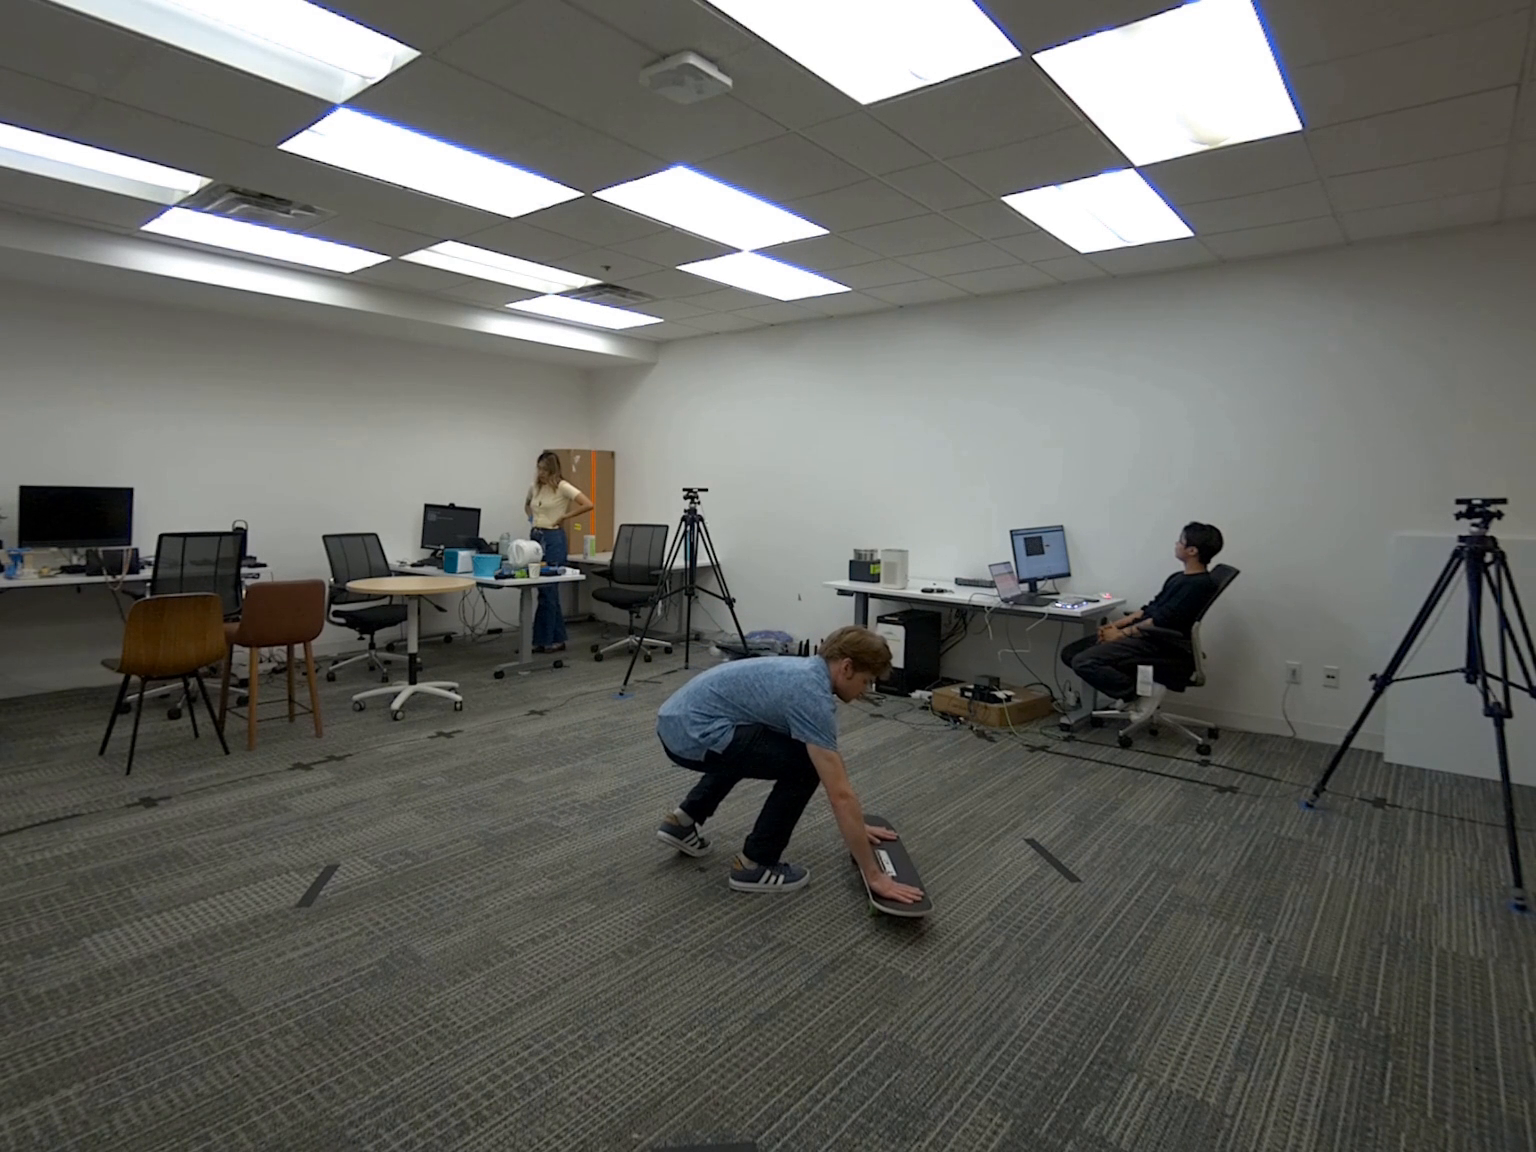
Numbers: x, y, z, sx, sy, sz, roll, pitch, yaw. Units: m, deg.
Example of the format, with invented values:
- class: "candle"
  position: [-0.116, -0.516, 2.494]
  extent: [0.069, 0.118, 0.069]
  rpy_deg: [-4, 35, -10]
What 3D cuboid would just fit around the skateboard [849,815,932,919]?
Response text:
- class: "skateboard"
  position: [0.400, 1.031, 2.997]
  extent: [0.193, 0.110, 0.790]
  rpy_deg: [2, 5, -3]
